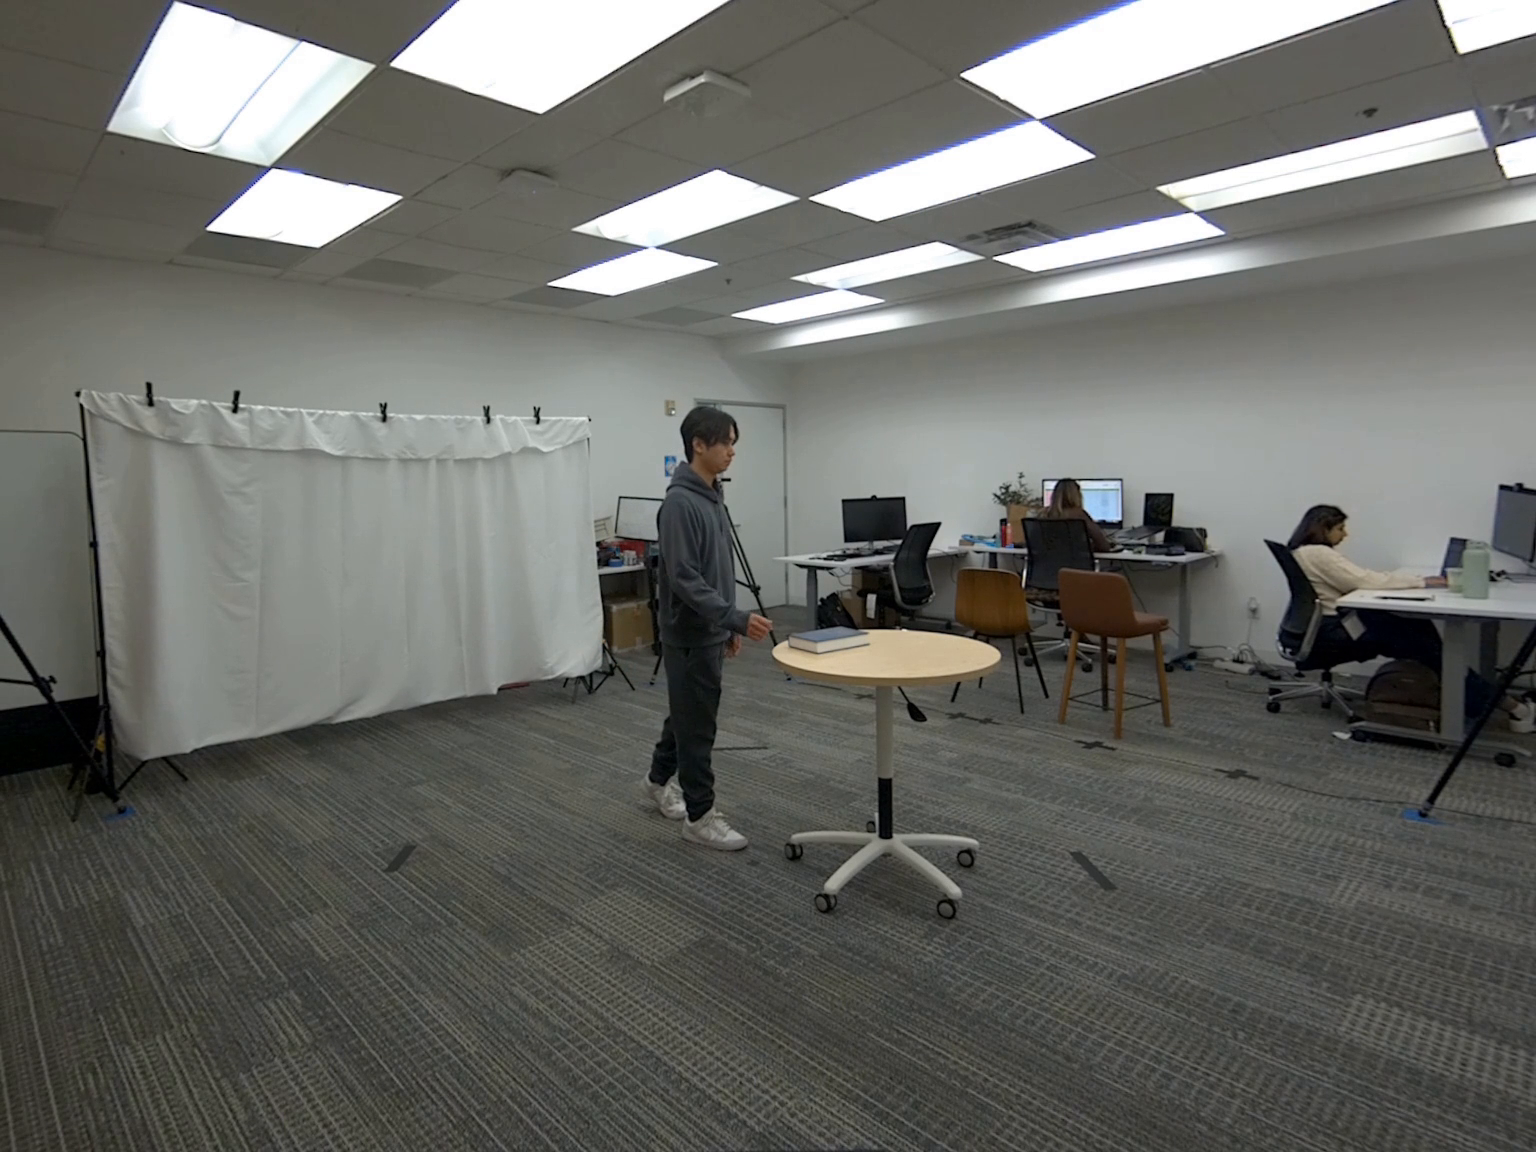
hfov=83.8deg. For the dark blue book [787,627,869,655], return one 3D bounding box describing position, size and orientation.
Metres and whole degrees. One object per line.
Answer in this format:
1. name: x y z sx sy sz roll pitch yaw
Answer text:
1. dark blue book: 0.221 0.231 3.039 0.239 0.045 0.168 -6 10 -37
